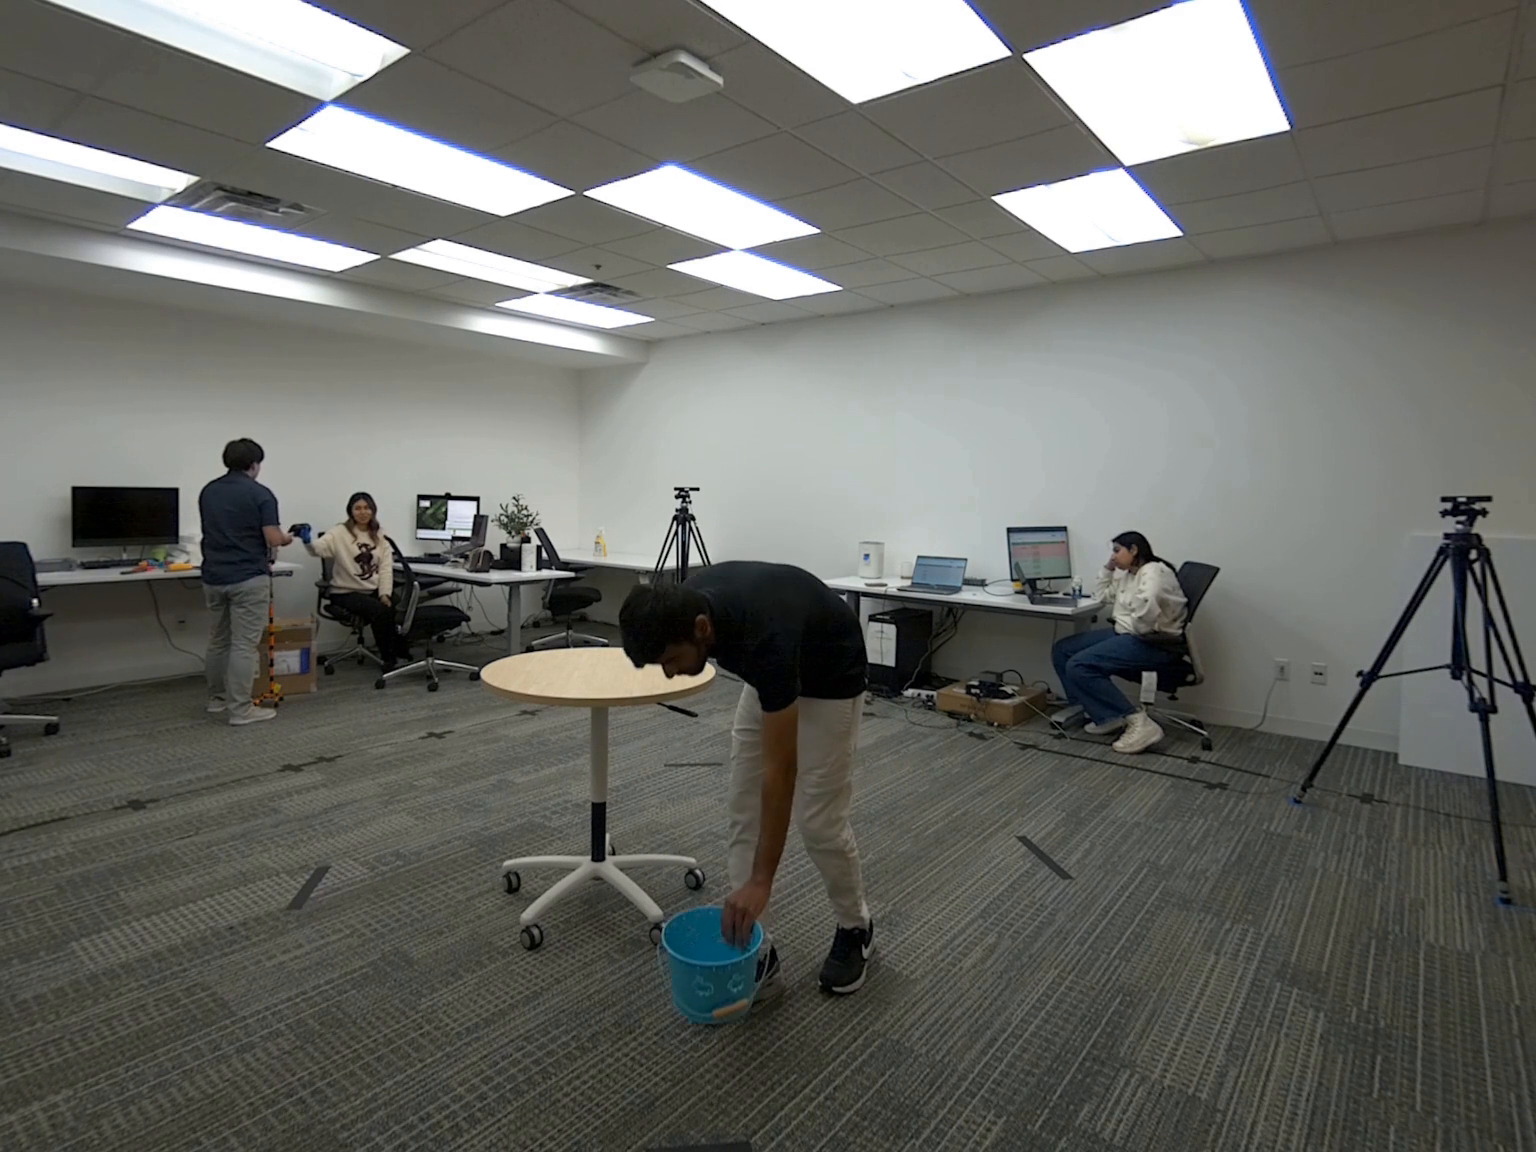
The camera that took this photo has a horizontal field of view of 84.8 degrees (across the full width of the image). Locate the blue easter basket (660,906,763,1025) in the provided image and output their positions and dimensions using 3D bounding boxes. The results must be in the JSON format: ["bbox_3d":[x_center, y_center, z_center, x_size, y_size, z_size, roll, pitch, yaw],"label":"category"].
[{"bbox_3d":[-0.135,0.869,1.908,0.243,0.155,0.245,-1,5,-2],"label":"blue easter basket"}]
